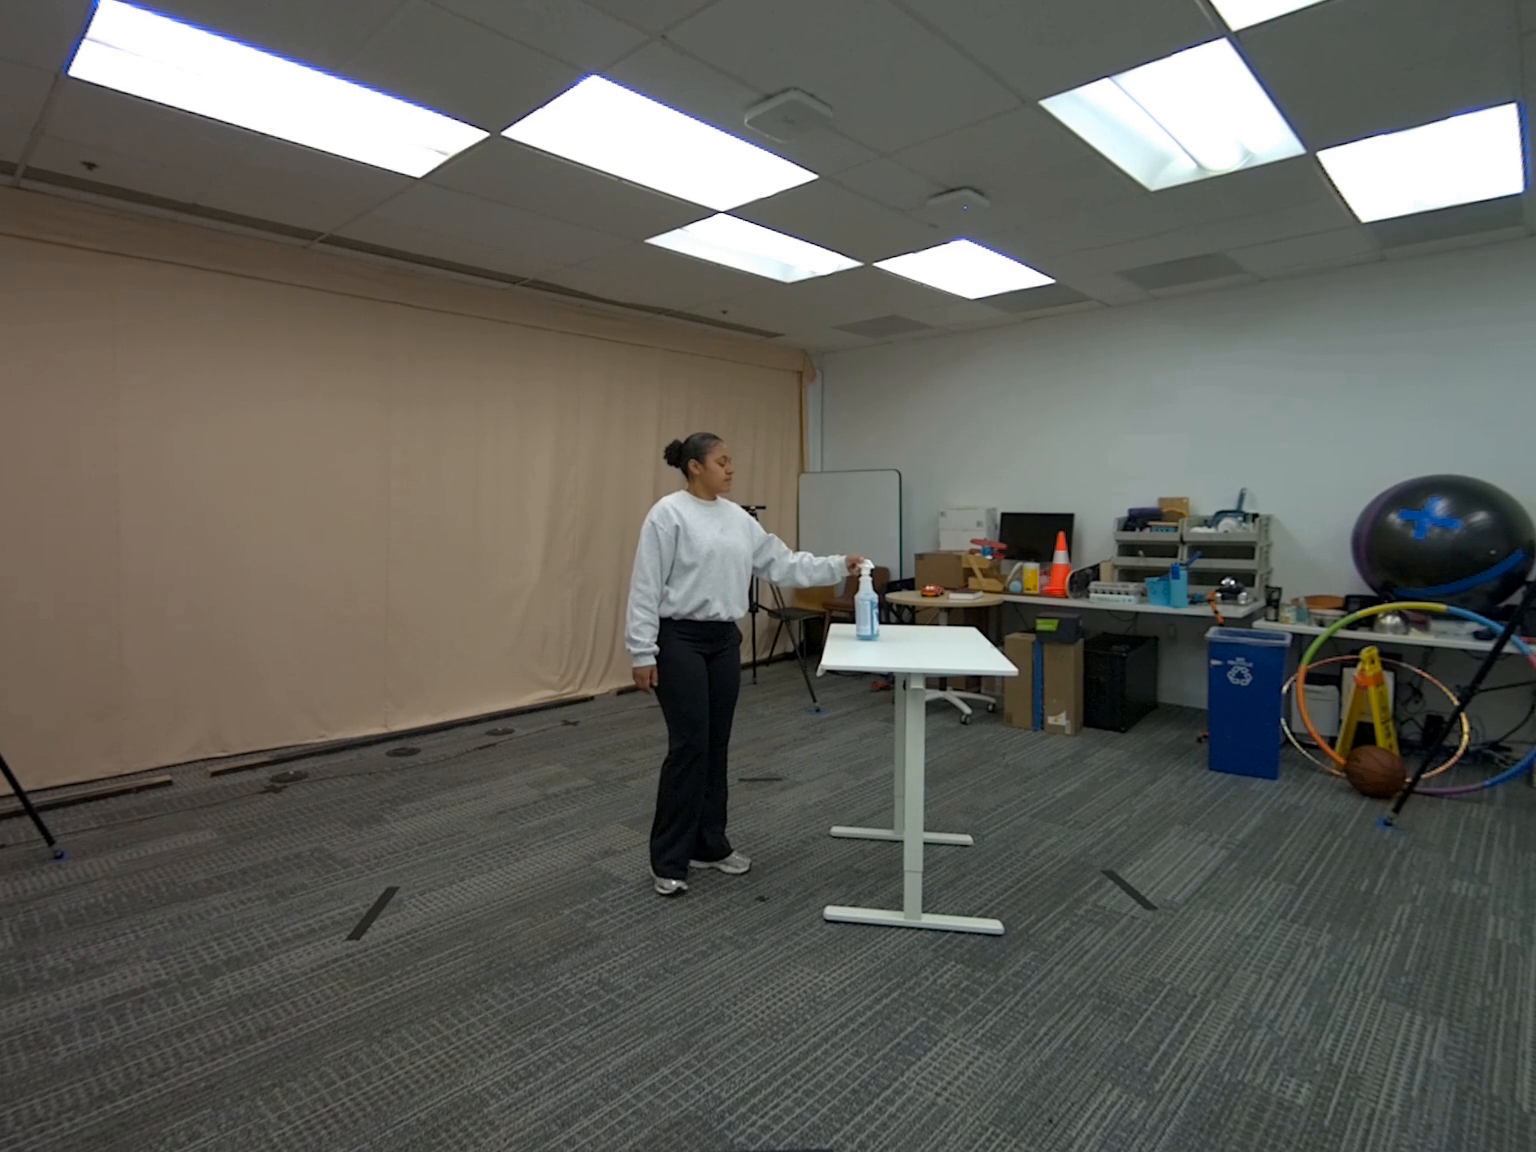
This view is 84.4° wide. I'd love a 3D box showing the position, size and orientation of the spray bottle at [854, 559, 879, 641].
[{"bbox_3d":[0.374,0.084,3.185,0.085,0.297,0.092,-3,1,-17],"label":"spray bottle"}]
